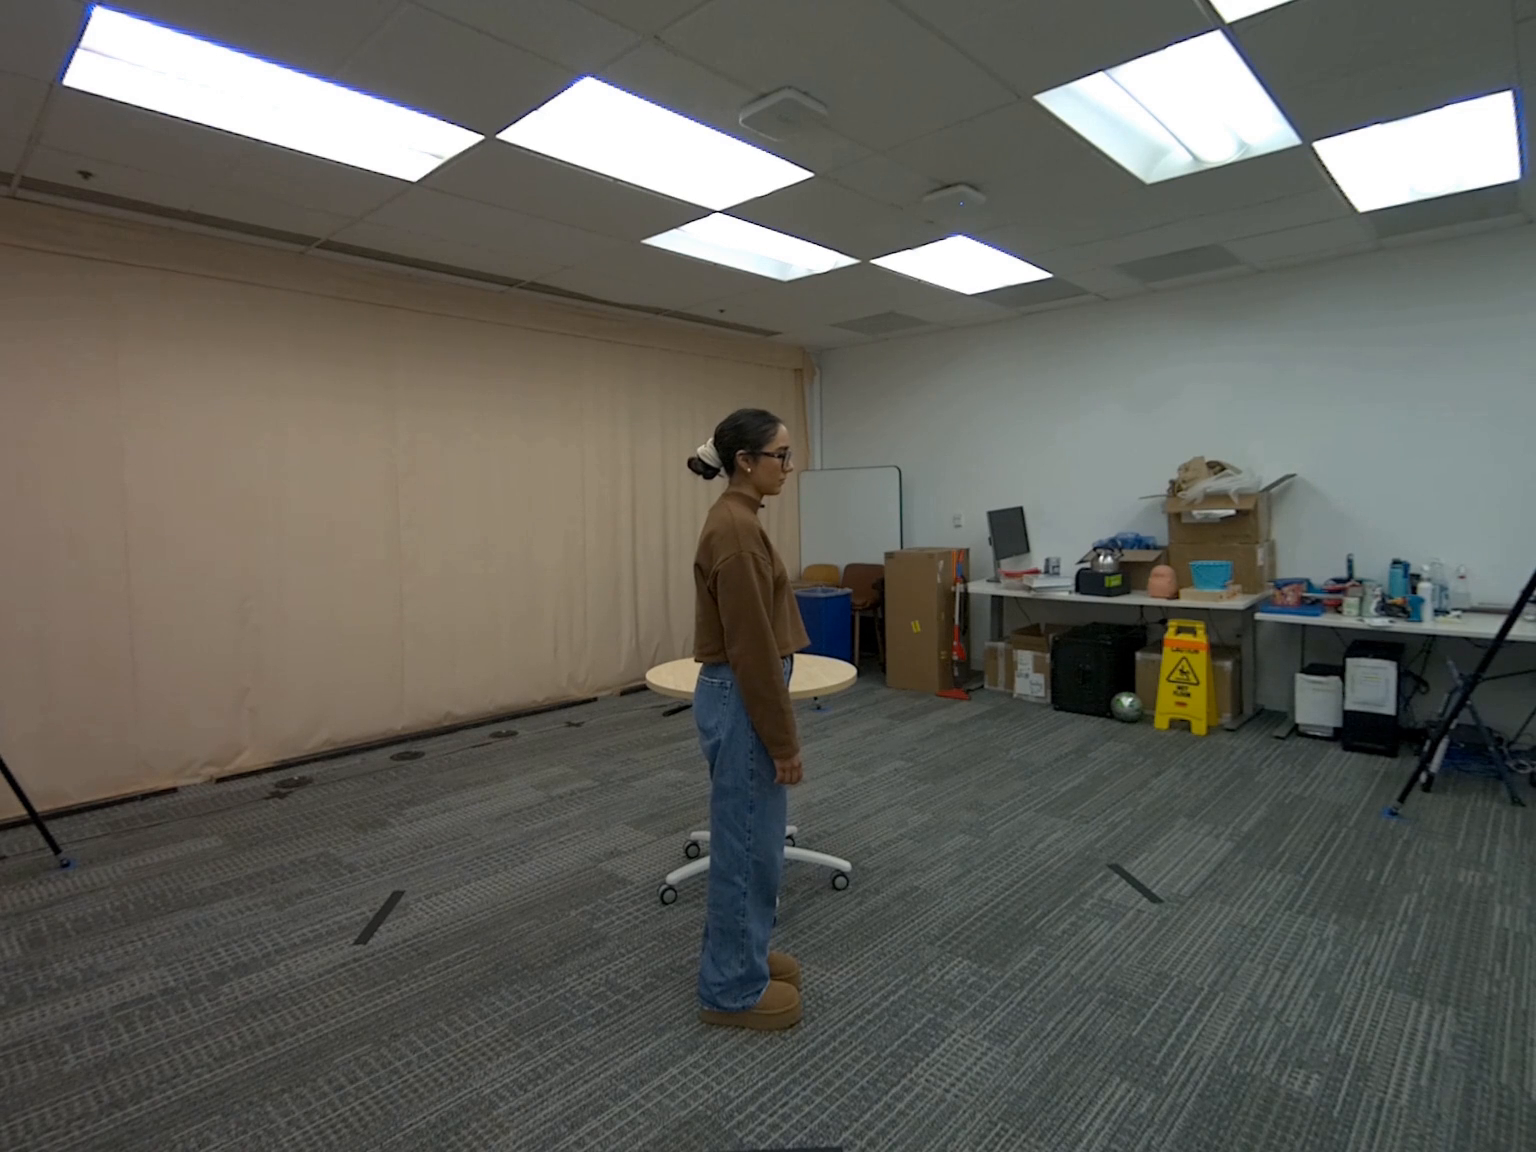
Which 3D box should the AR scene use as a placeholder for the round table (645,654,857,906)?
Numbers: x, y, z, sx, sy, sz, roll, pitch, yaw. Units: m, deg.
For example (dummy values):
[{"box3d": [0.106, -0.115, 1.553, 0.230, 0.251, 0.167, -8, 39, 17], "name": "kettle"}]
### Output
[{"box3d": [-0.061, 0.742, 3.088, 0.763, 0.792, 0.767, -1, 4, -2], "name": "round table"}]
